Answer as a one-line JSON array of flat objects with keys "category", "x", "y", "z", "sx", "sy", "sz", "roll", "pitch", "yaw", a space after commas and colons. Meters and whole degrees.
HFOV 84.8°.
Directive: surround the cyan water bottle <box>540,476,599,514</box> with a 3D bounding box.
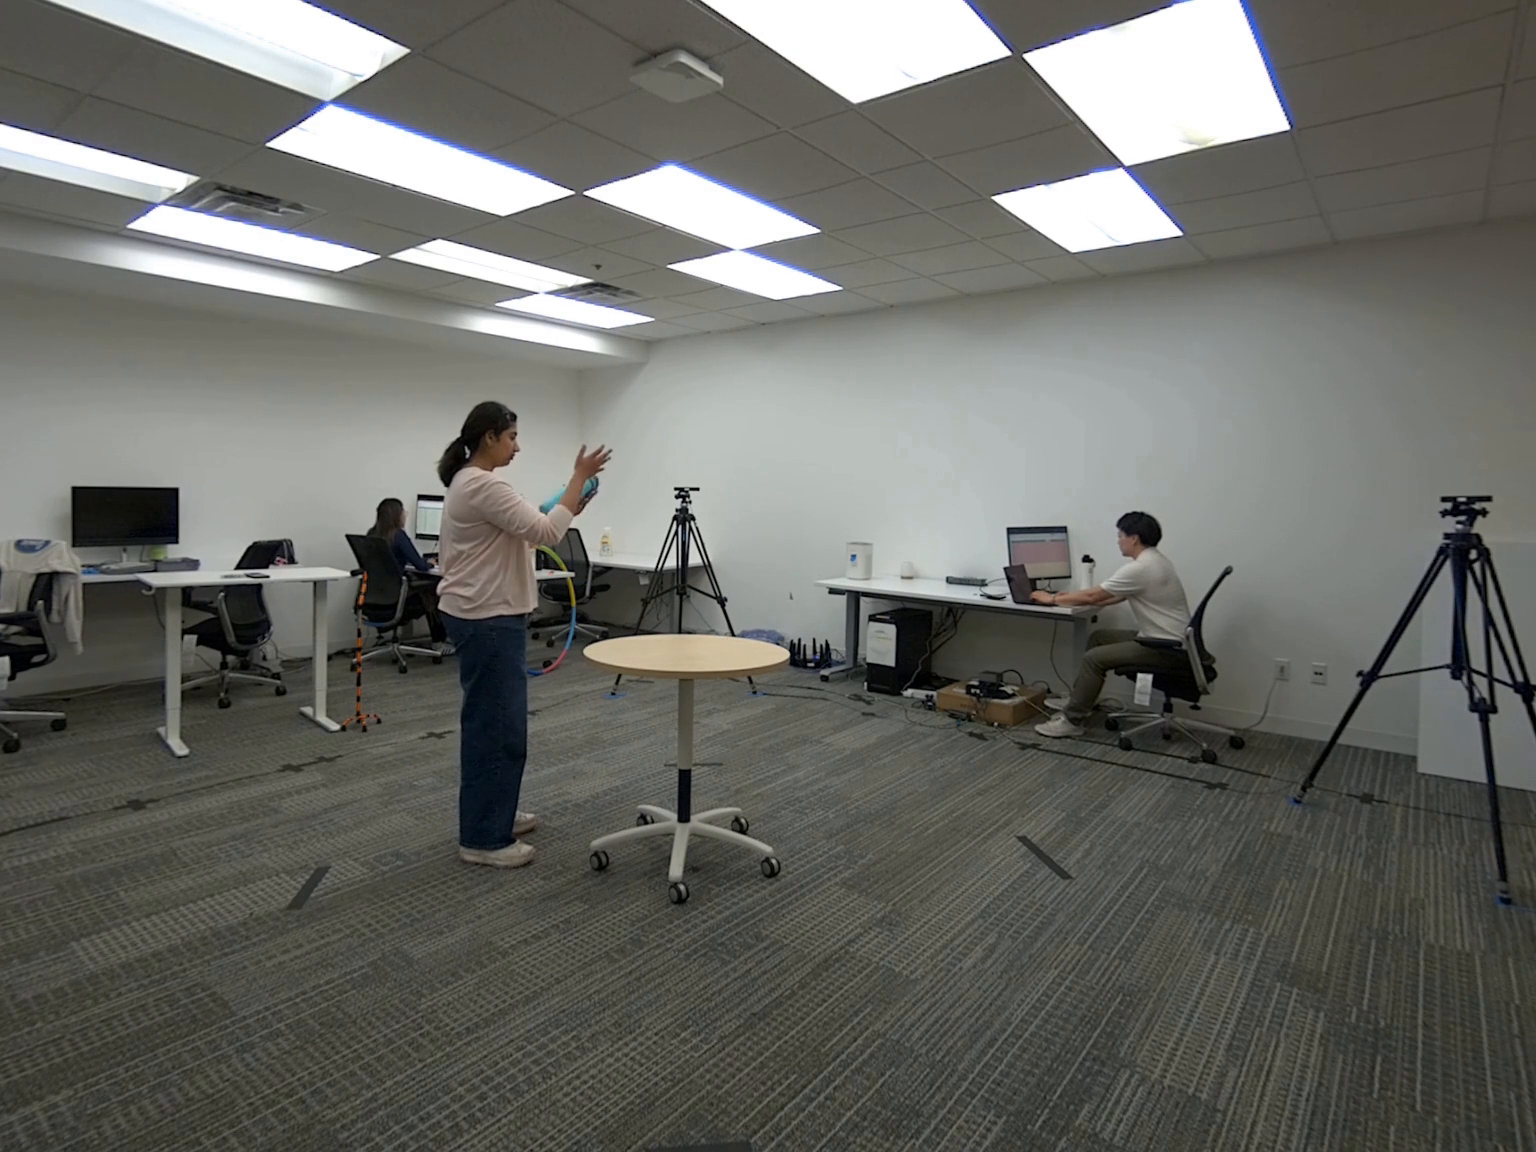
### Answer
[{"category": "cyan water bottle", "x": -0.809, "y": -0.326, "z": 3.414, "sx": 0.095, "sy": 0.089, "sz": 0.283, "roll": 4, "pitch": 40, "yaw": 43}]
